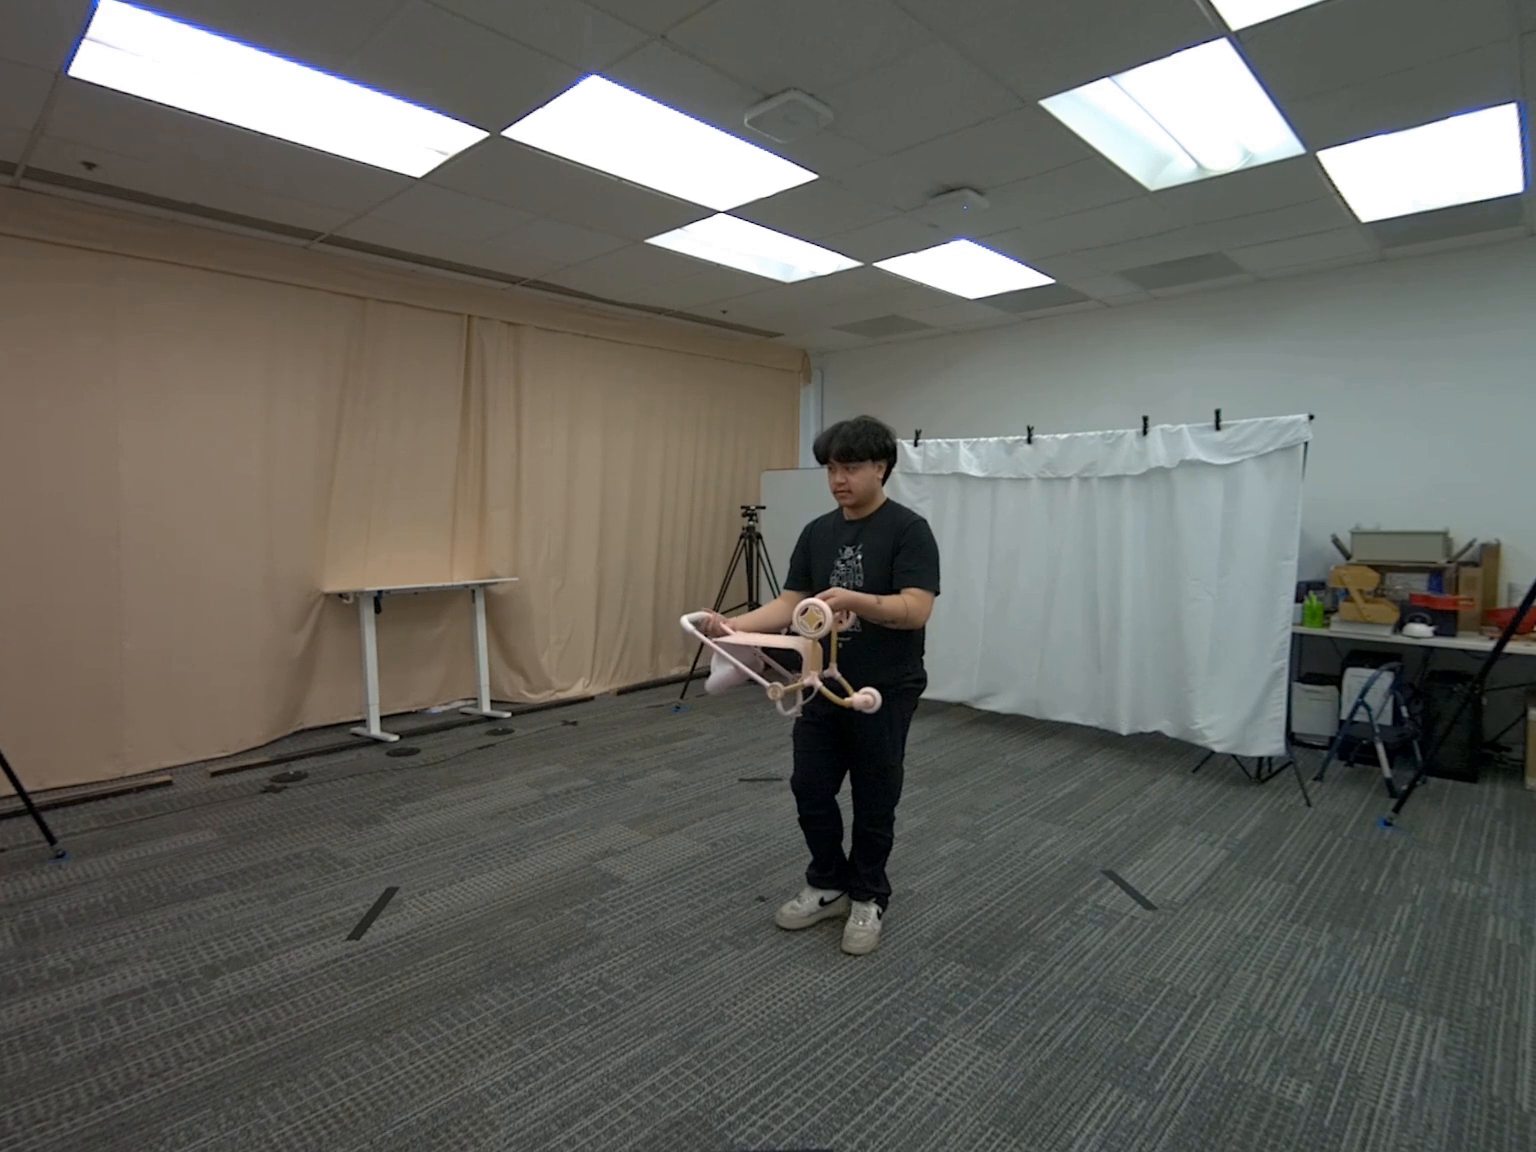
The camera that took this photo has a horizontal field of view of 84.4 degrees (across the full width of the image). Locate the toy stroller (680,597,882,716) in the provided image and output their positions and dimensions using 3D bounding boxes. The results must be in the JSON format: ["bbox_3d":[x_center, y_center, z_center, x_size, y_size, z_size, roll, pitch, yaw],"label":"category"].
[{"bbox_3d":[0.043,0.237,2.416,0.546,0.341,0.275,-10,1,24],"label":"toy stroller"}]
